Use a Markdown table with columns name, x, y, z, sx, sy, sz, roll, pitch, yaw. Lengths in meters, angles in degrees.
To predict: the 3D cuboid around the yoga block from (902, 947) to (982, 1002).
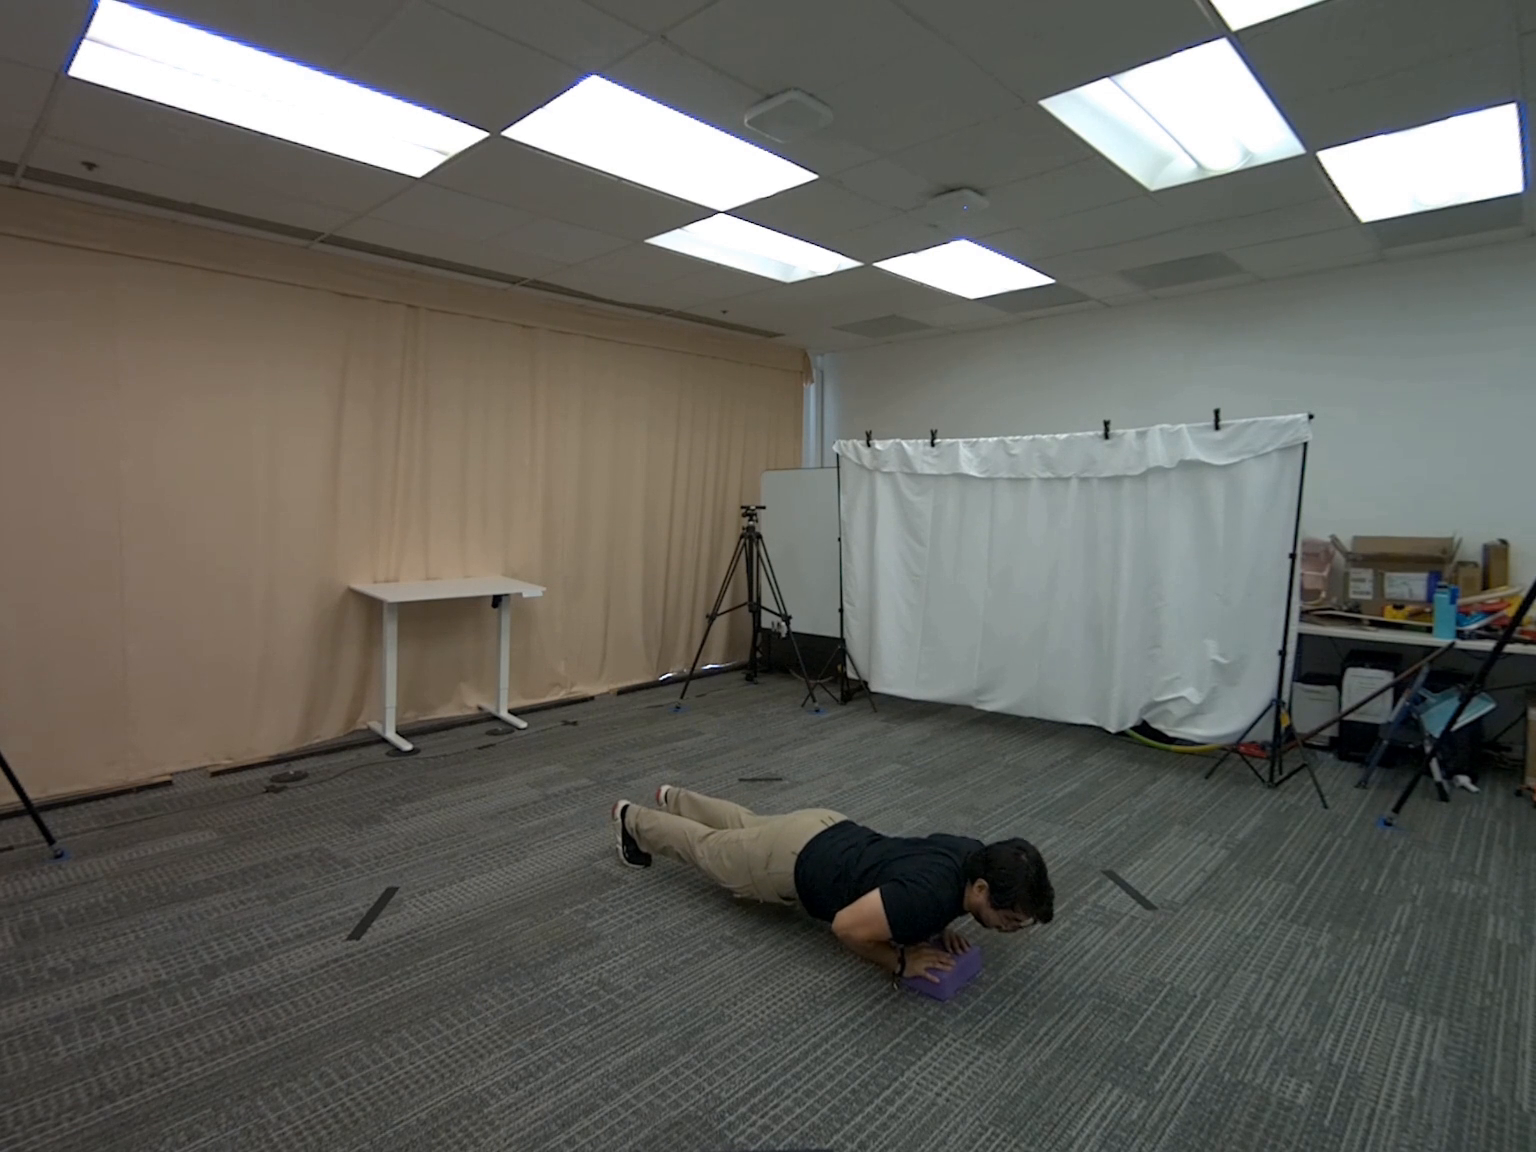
| name | x | y | z | sx | sy | sz | roll | pitch | yaw |
| --- | --- | --- | --- | --- | --- | --- | --- | --- | --- |
| yoga block | 0.506 | 1.142 | 2.481 | 0.154 | 0.076 | 0.222 | 2 | 7 | 42 |
